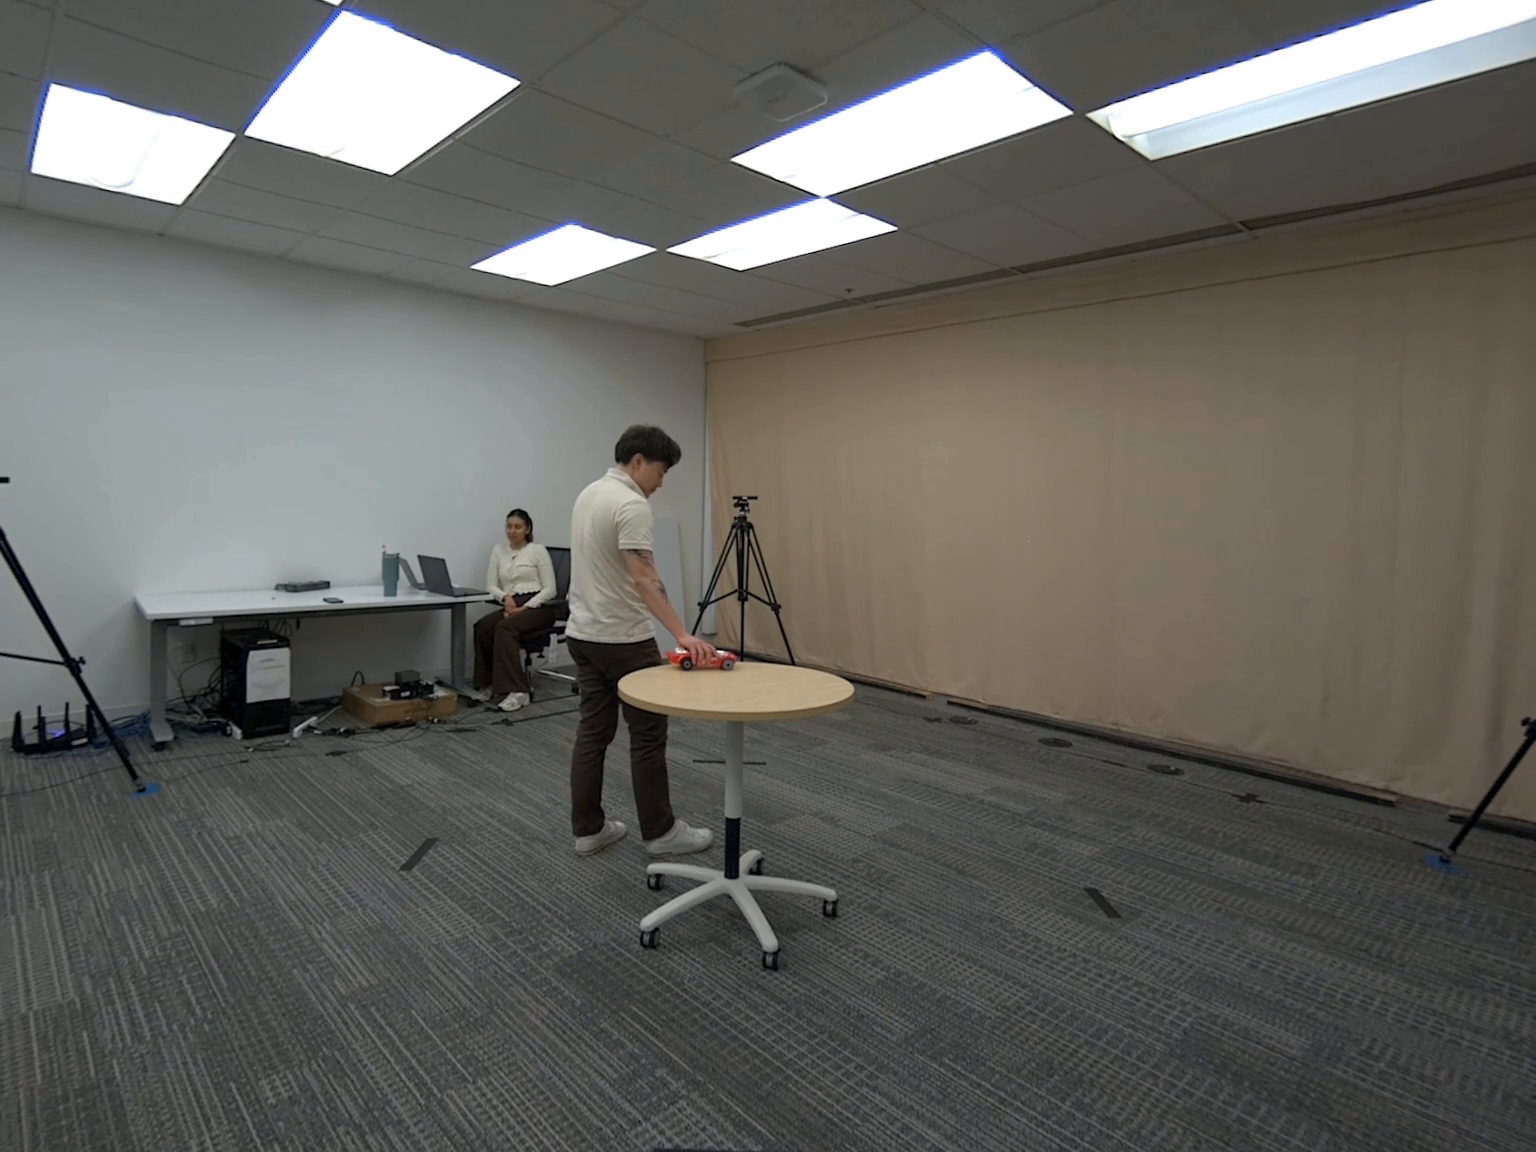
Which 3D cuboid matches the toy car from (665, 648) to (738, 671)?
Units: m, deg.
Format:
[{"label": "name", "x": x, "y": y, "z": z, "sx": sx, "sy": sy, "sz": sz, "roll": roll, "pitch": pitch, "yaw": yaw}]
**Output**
[{"label": "toy car", "x": -0.254, "y": 0.301, "z": 2.998, "sx": 0.253, "sy": 0.083, "sz": 0.131, "roll": 13, "pitch": 3, "yaw": -7}]
